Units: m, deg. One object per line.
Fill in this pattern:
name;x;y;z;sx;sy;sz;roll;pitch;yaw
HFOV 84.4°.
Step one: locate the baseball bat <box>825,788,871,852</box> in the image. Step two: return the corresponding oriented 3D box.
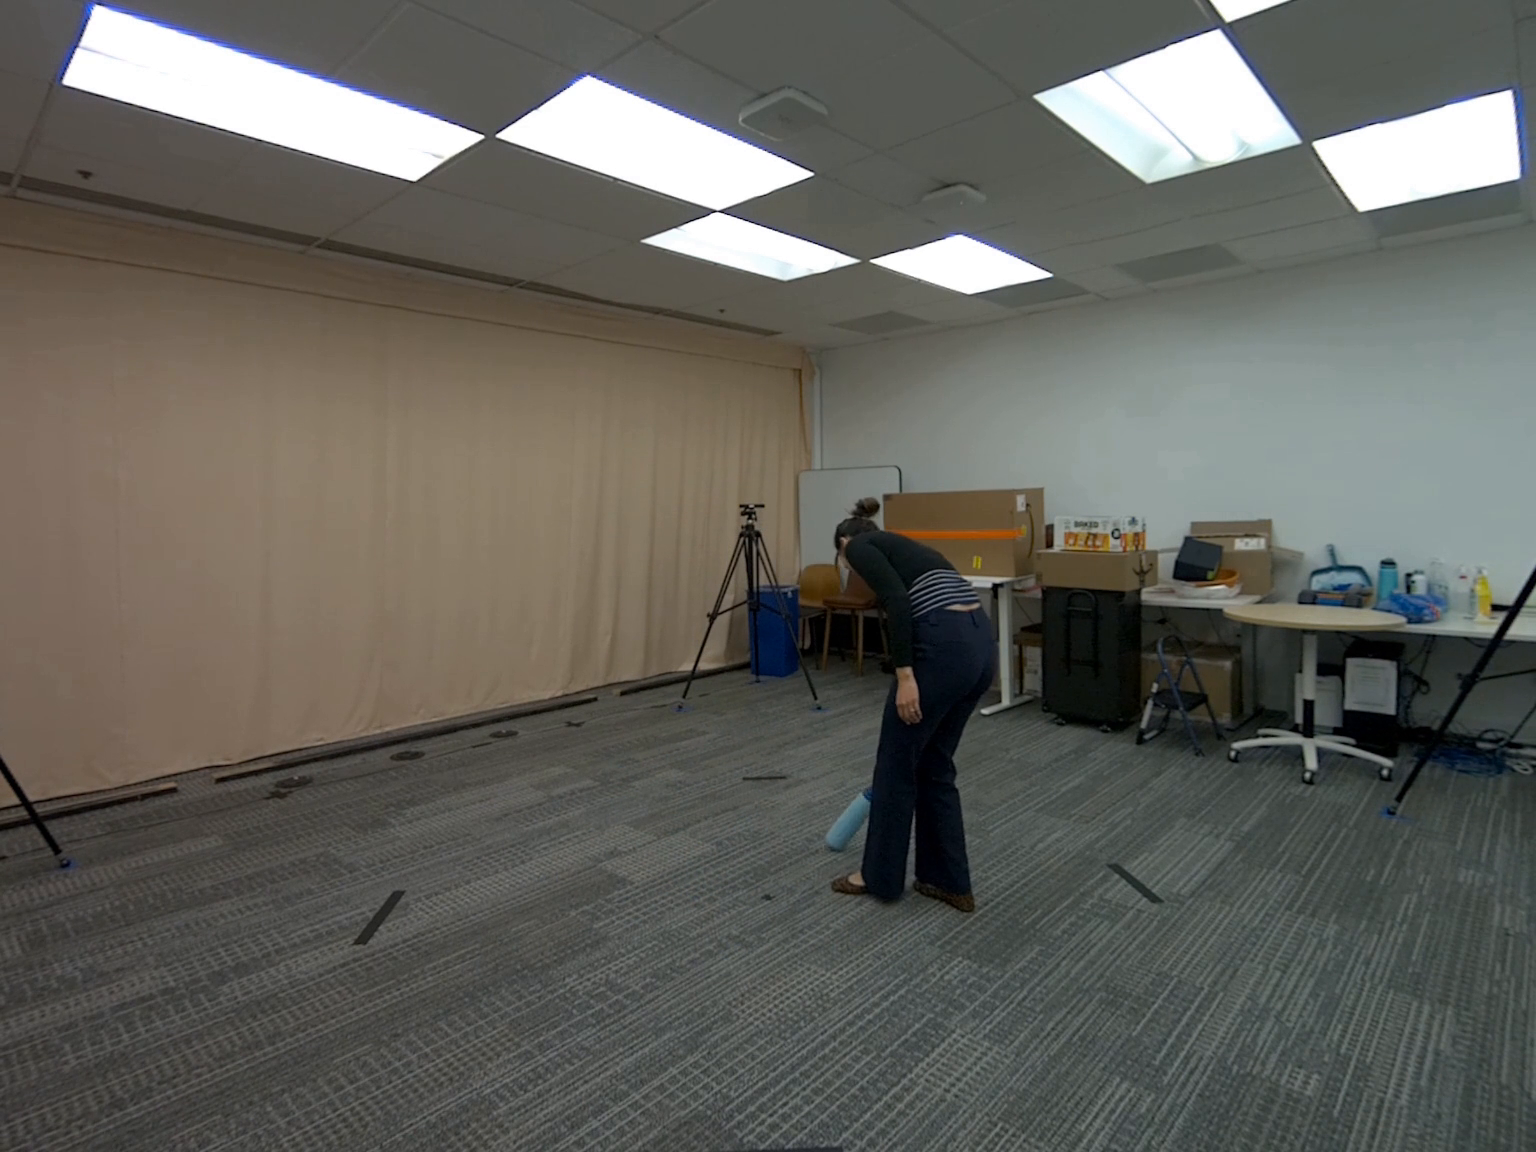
baseball bat;0.421;0.866;3.331;0.088;0.543;0.090;33;10;-9
